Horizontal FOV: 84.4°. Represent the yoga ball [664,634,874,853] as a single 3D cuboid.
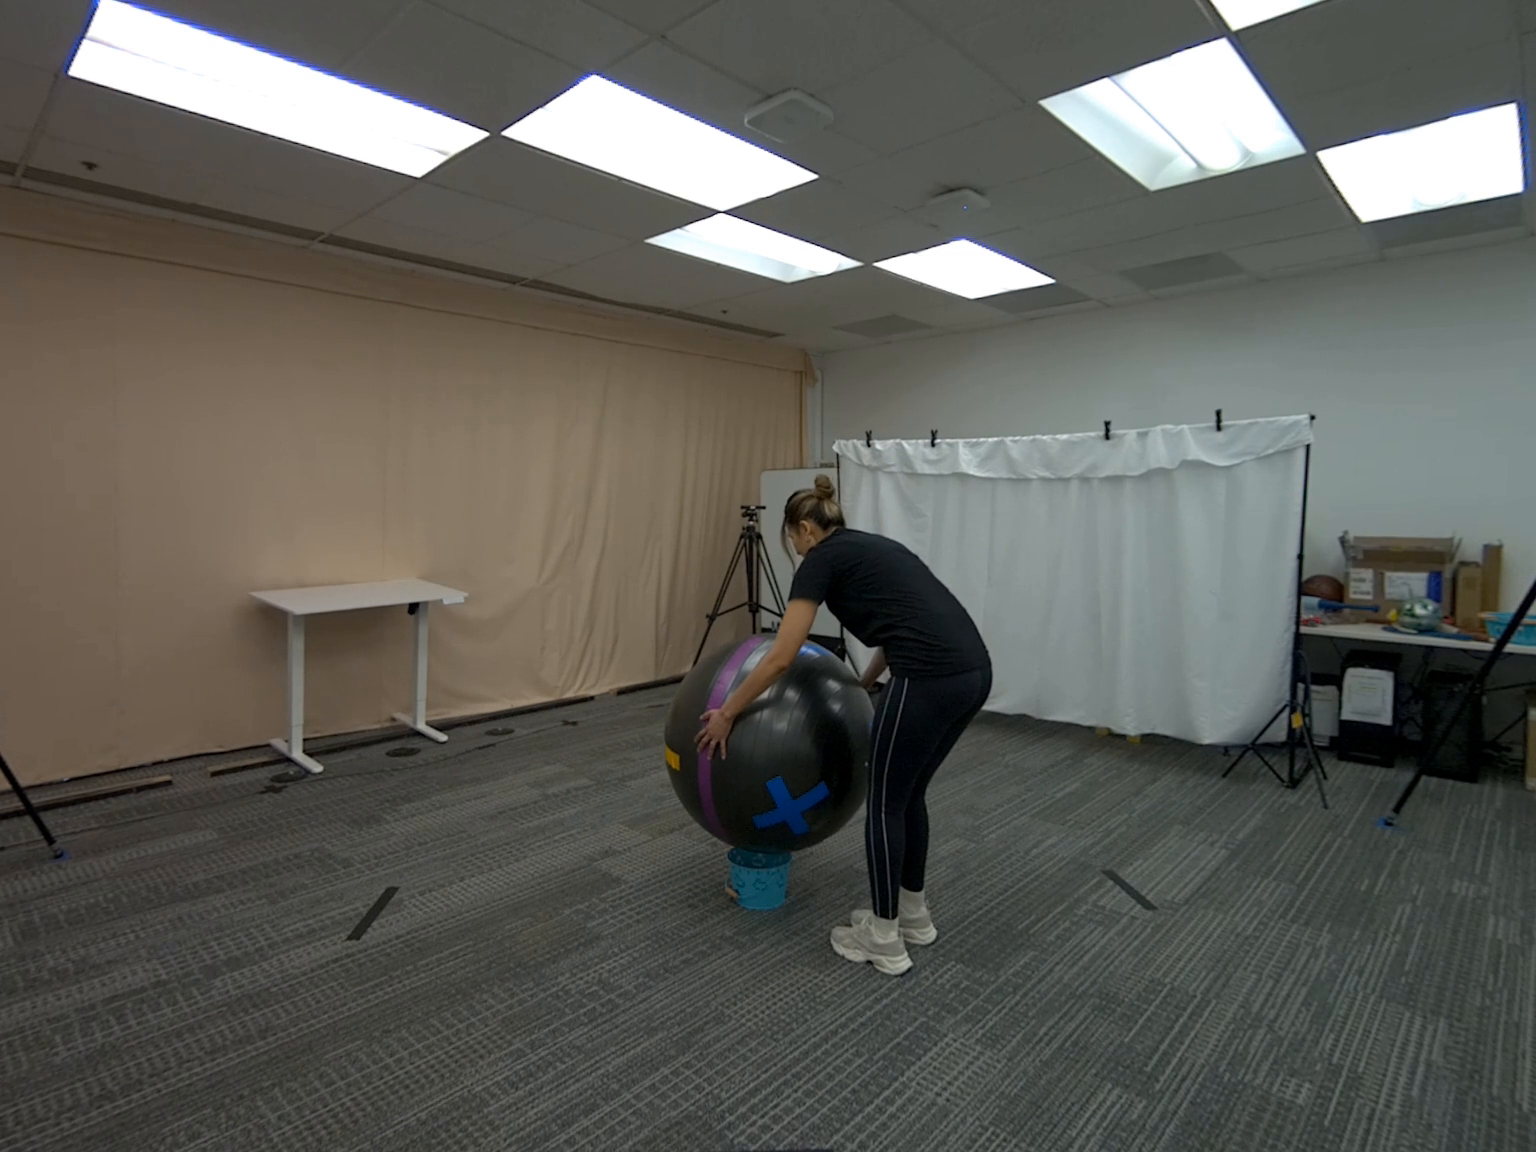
[{"bbox_3d":[0.017,0.581,2.986,0.757,0.756,0.760,0,4,-2],"label":"yoga ball"}]
